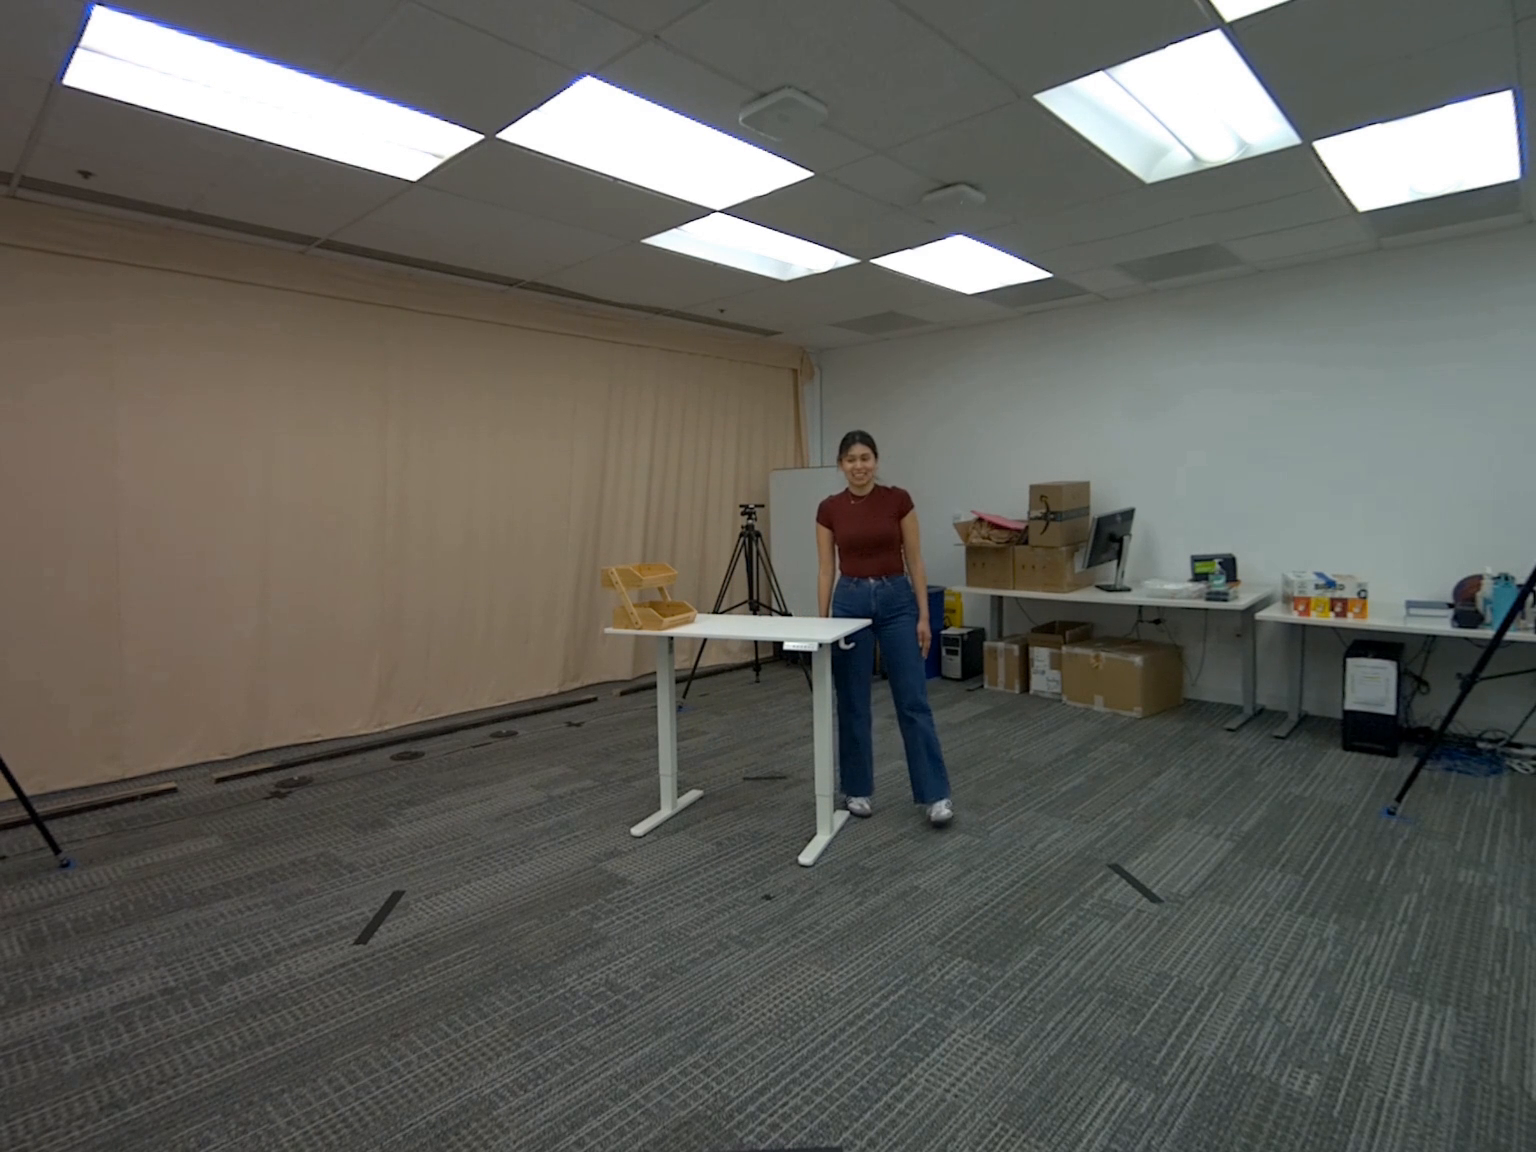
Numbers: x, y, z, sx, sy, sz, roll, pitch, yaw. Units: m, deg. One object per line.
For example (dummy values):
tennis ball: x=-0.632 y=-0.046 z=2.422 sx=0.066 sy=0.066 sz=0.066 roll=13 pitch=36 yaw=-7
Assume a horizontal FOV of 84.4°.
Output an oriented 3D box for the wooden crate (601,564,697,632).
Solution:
wooden crate: x=-0.509 y=0.081 z=3.656 sx=0.310 sy=0.273 sz=0.317 roll=0 pitch=3 yaw=25
